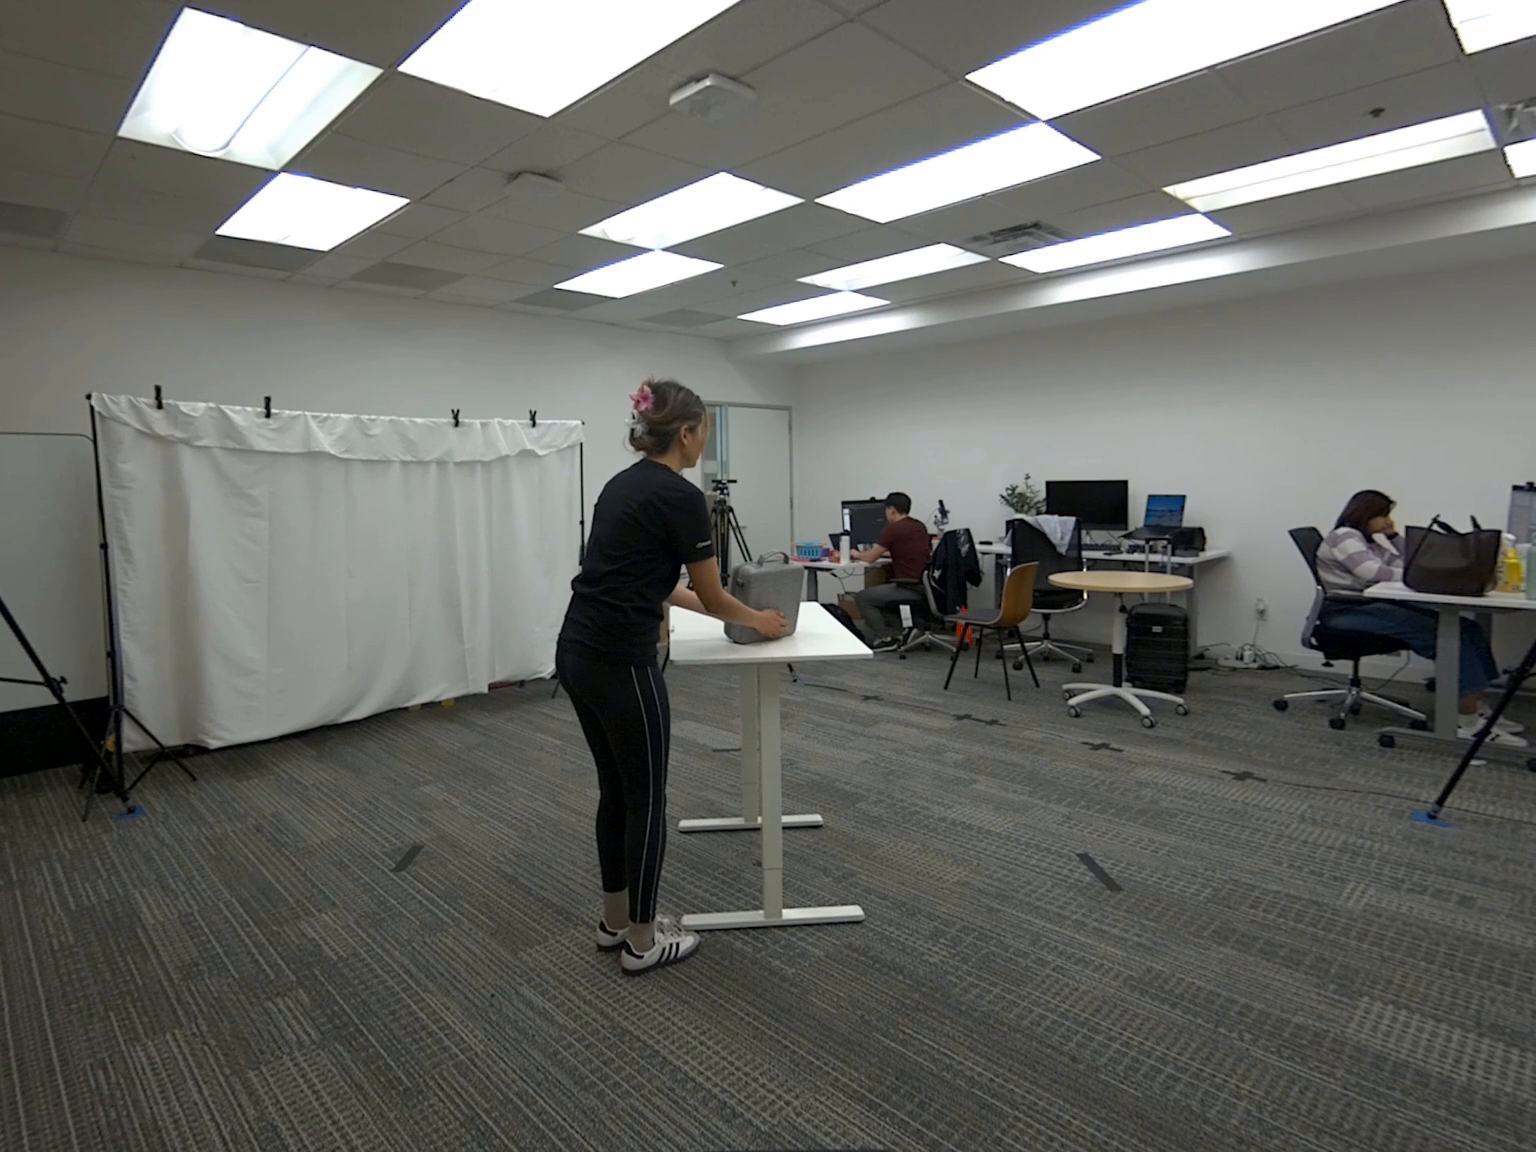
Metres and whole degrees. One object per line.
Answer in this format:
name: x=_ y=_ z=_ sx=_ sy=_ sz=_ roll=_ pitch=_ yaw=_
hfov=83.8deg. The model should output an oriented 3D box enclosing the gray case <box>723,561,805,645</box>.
gray case: x=0.003 y=0.075 z=2.755 sx=0.250 sy=0.258 sz=0.108 roll=-8 pitch=19 yaw=-42
